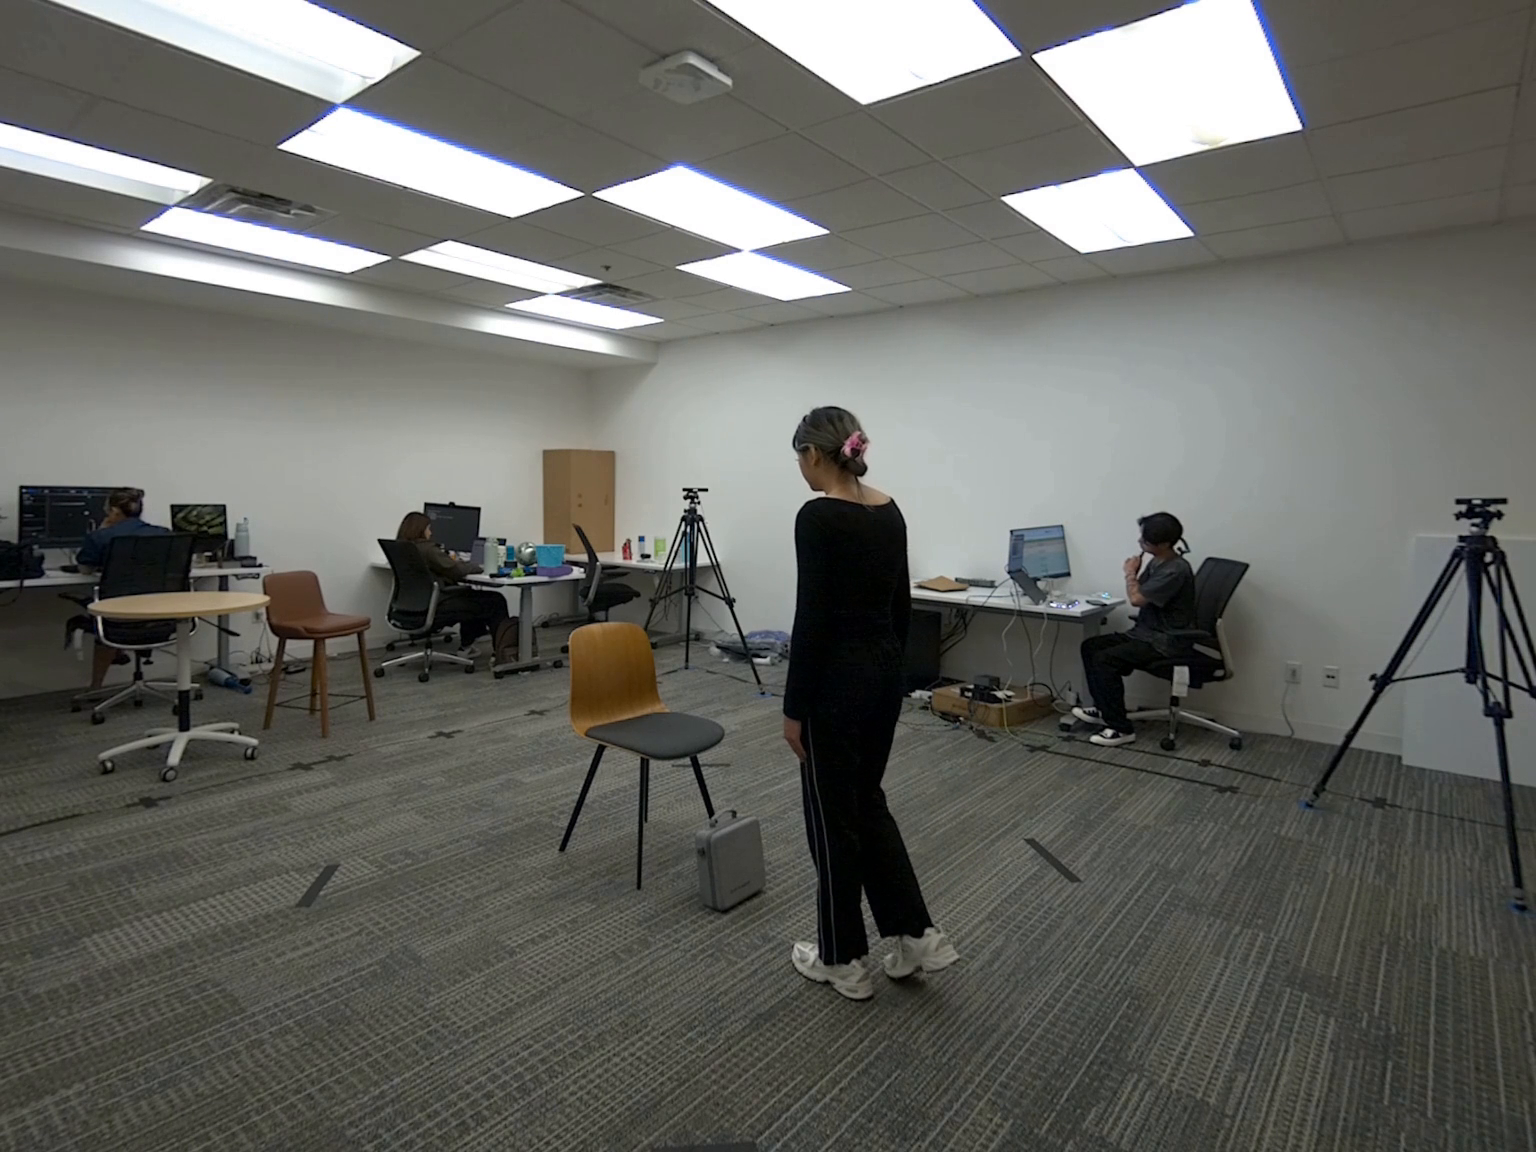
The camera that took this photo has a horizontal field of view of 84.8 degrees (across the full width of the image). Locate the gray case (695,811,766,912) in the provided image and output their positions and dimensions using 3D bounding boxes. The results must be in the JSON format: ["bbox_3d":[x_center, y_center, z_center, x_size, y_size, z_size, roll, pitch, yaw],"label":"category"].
[{"bbox_3d":[-0.135,0.961,2.894,0.107,0.262,0.249,-10,-4,39],"label":"gray case"}]
